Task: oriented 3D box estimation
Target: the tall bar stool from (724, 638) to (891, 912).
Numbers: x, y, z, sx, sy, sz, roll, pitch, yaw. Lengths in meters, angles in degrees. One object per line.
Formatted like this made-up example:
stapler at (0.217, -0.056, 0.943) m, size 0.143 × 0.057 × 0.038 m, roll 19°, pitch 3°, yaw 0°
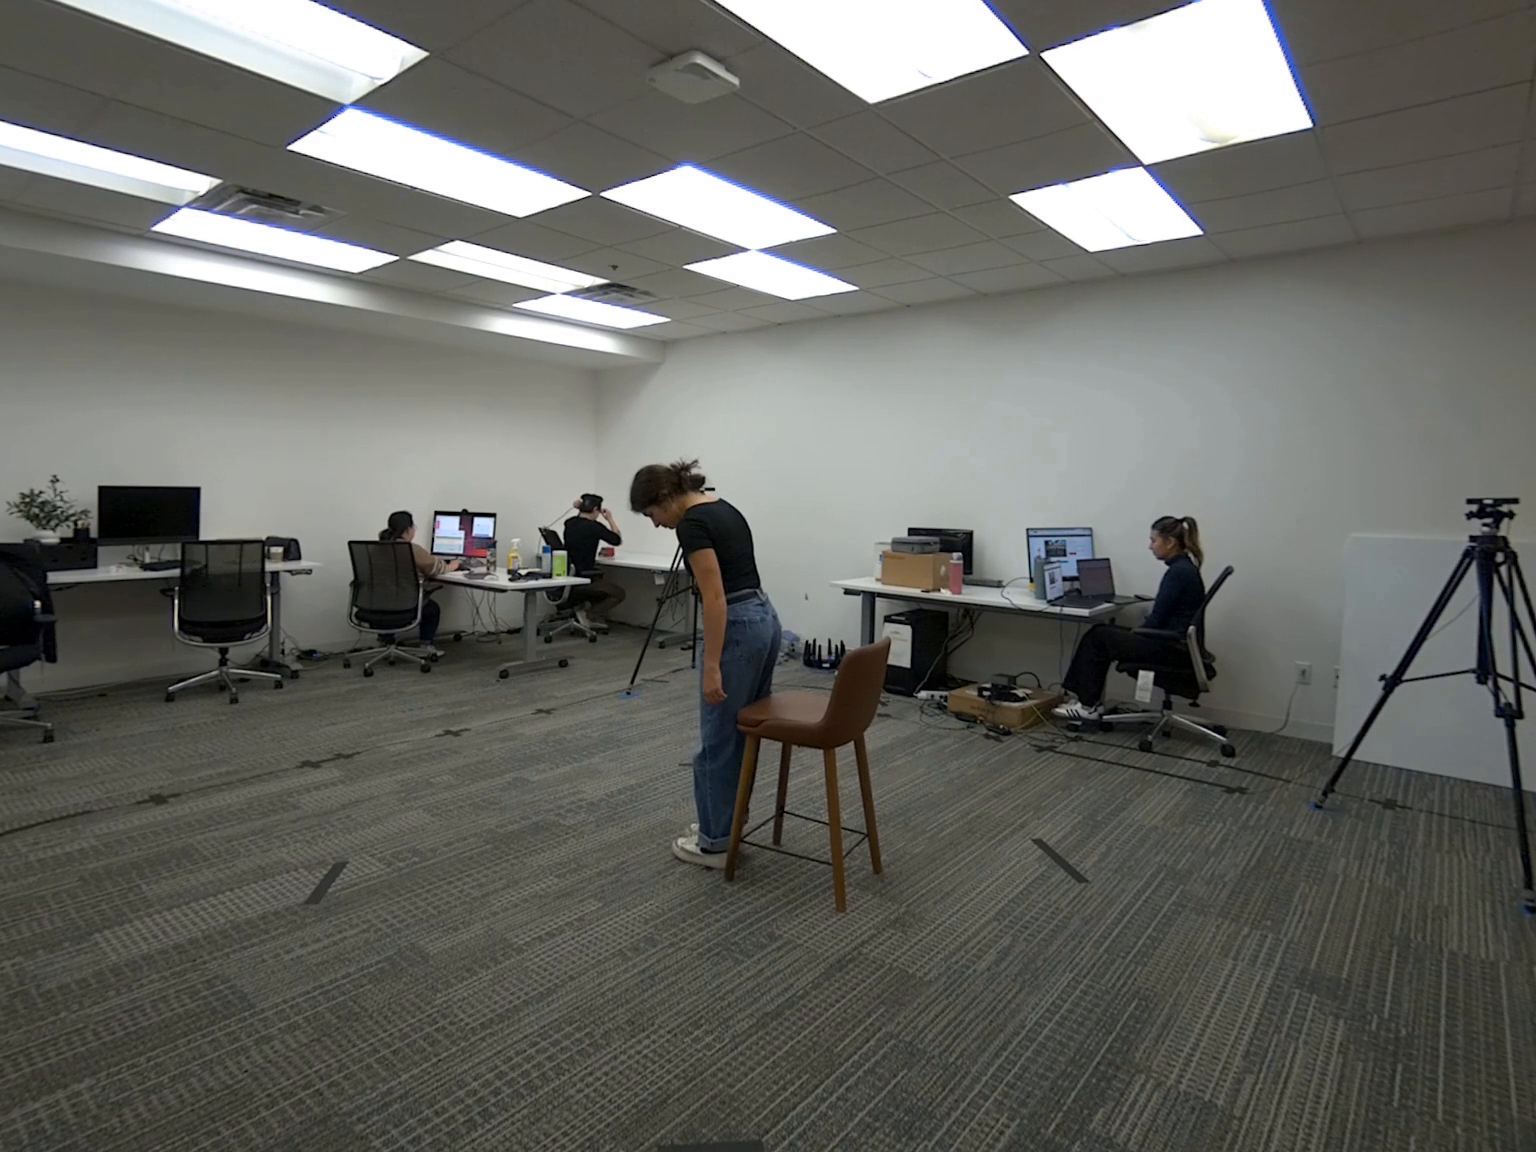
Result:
tall bar stool at (0.147, 0.650, 3.045) m, size 0.482 × 0.886 × 0.445 m, roll 5°, pitch 5°, yaw 29°
